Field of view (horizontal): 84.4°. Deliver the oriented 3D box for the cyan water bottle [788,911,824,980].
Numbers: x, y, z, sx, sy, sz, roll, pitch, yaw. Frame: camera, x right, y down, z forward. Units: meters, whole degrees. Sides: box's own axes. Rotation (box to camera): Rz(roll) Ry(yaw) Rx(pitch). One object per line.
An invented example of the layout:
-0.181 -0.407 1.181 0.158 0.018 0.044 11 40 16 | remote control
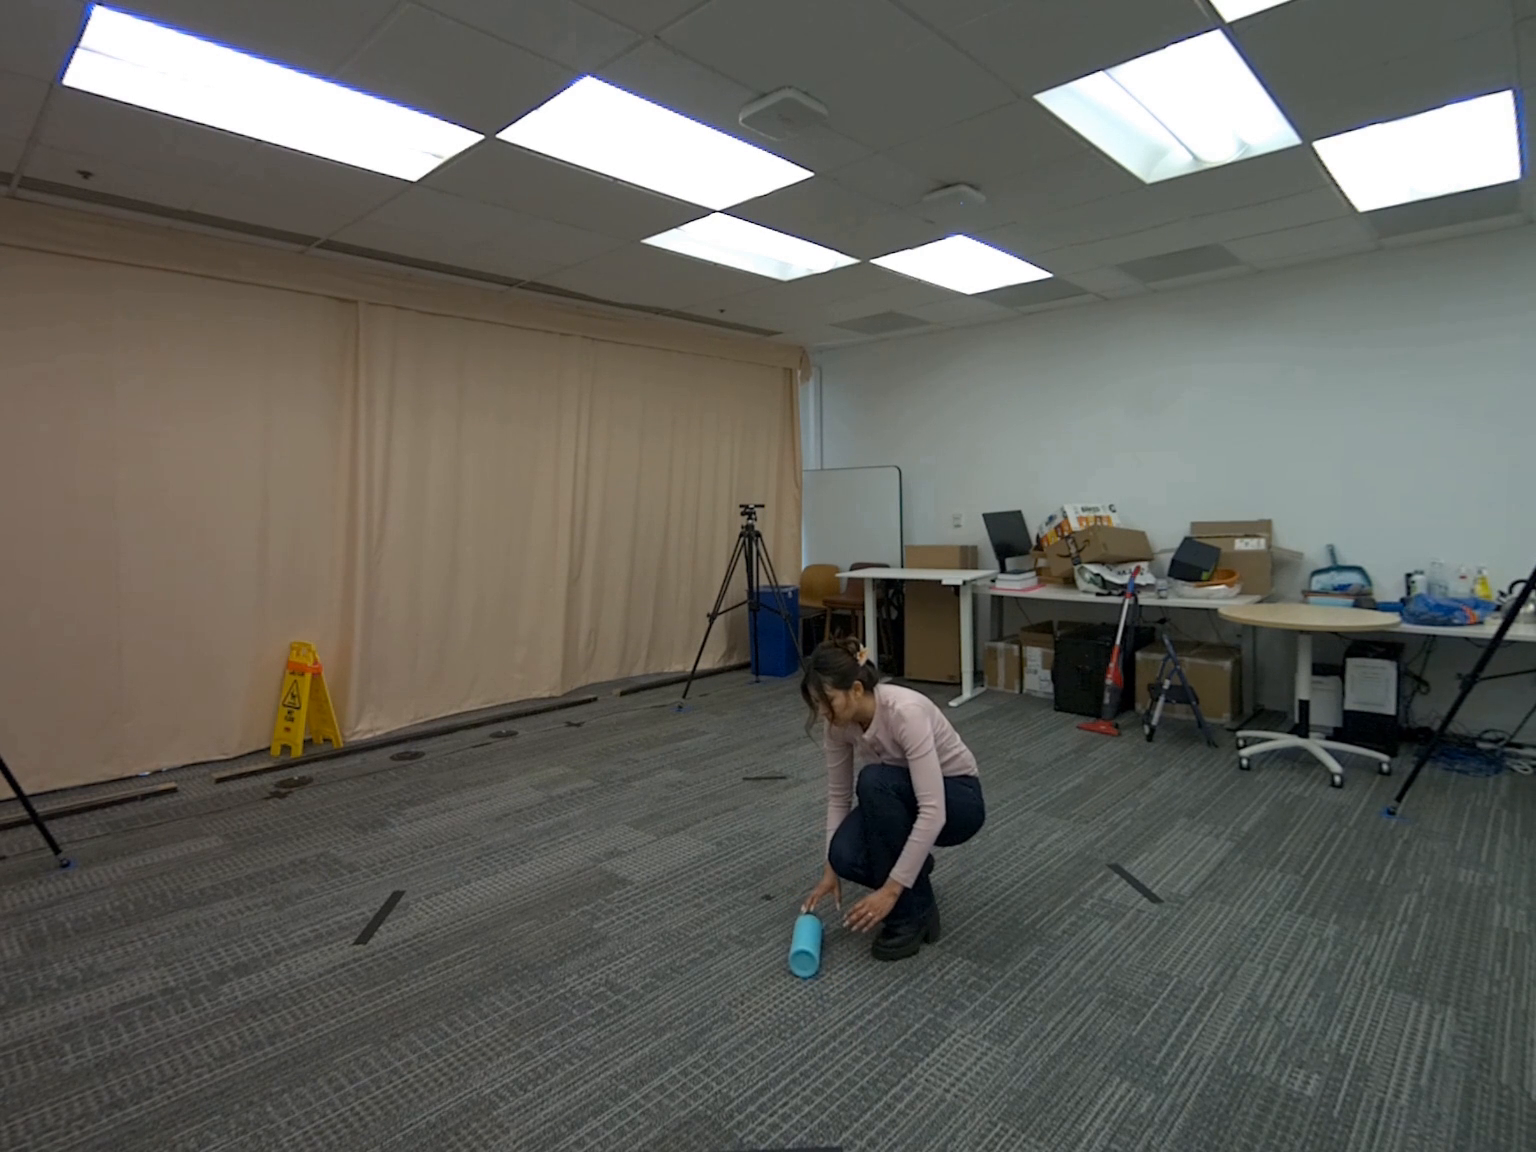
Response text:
0.125 1.131 2.600 0.093 0.092 0.281 0 4 7 | cyan water bottle
